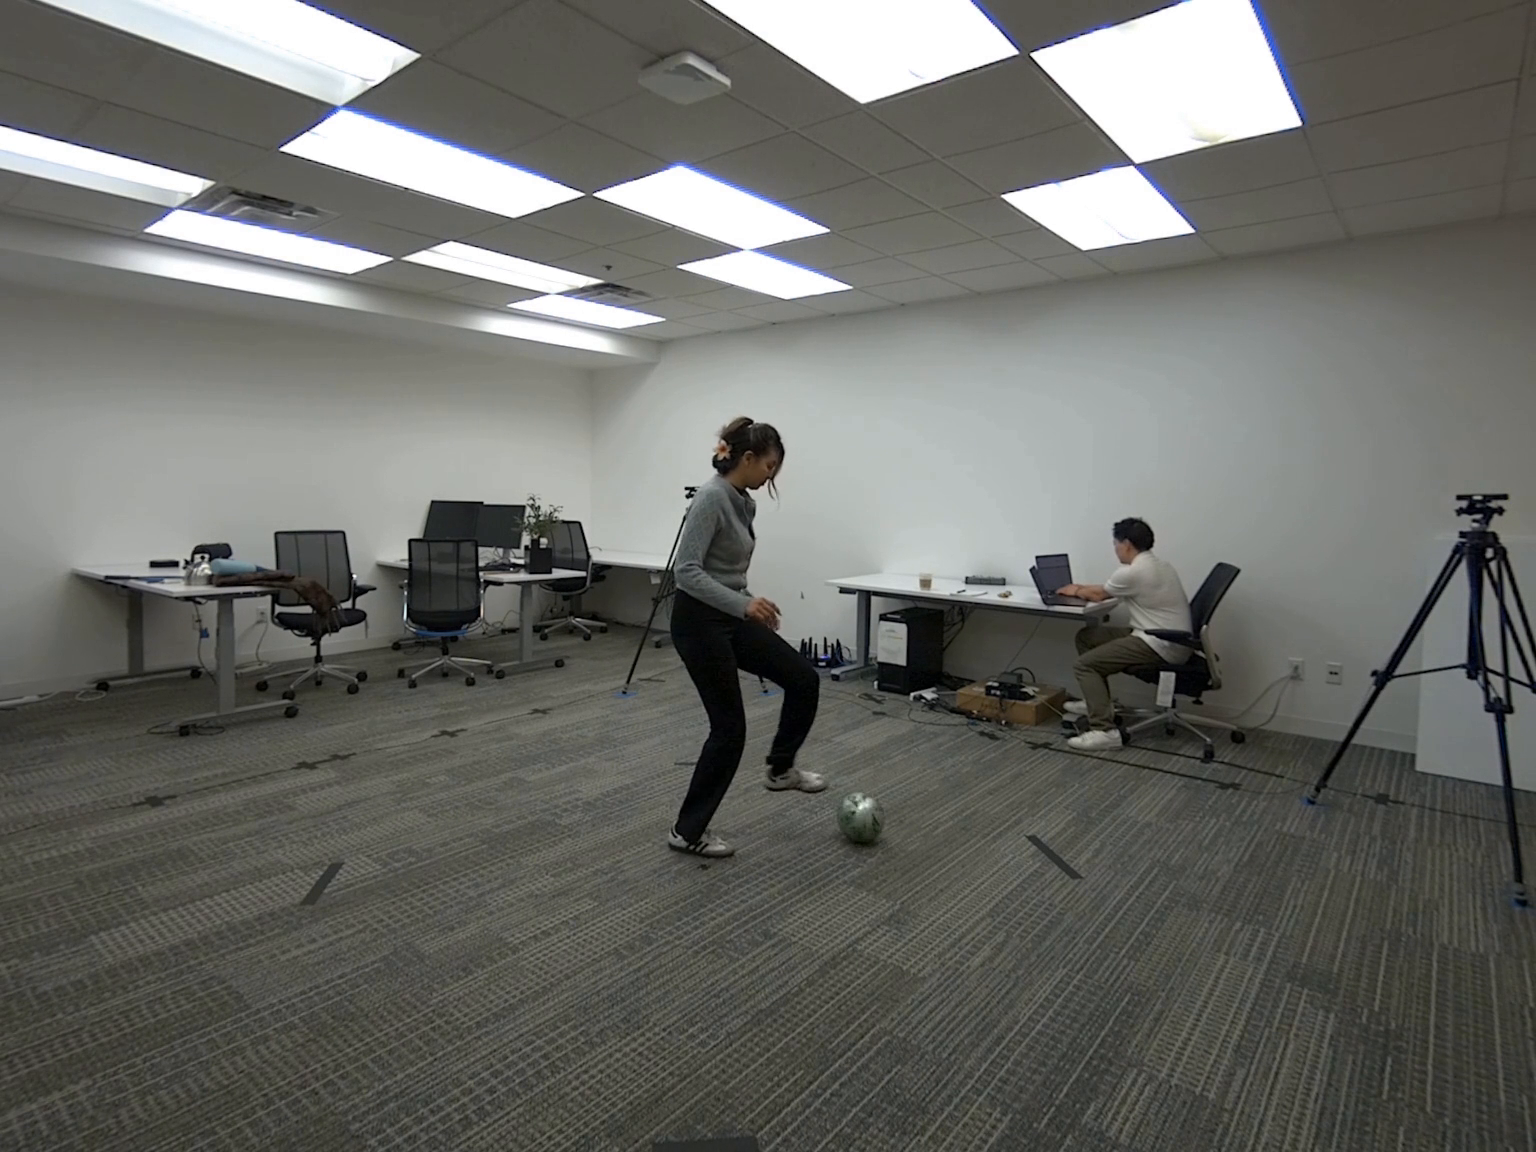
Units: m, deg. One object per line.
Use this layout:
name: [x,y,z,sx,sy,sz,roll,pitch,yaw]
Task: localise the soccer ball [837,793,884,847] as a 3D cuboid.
soccer ball: [0.349,0.957,3.375,0.187,0.187,0.188,1,4,-2]
